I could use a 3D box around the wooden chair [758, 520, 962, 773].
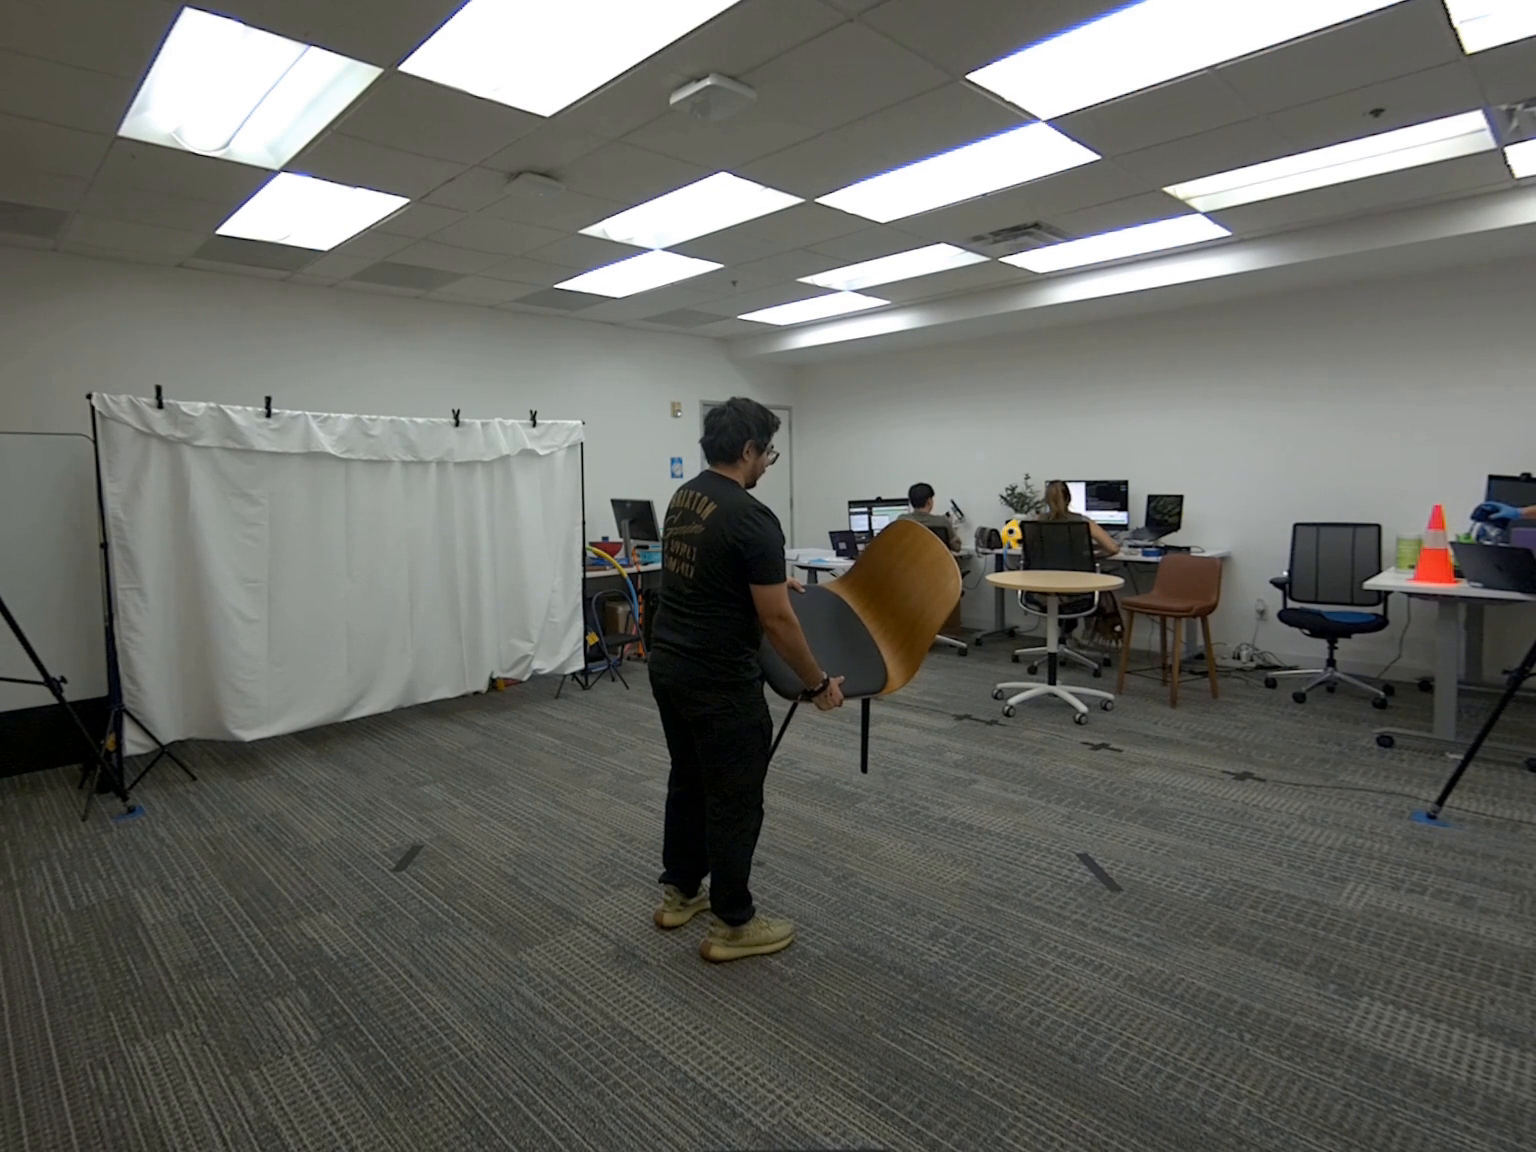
[{"bbox_3d":[0.174,0.237,2.736,0.510,0.866,0.496,0,42,-30],"label":"wooden chair"}]
